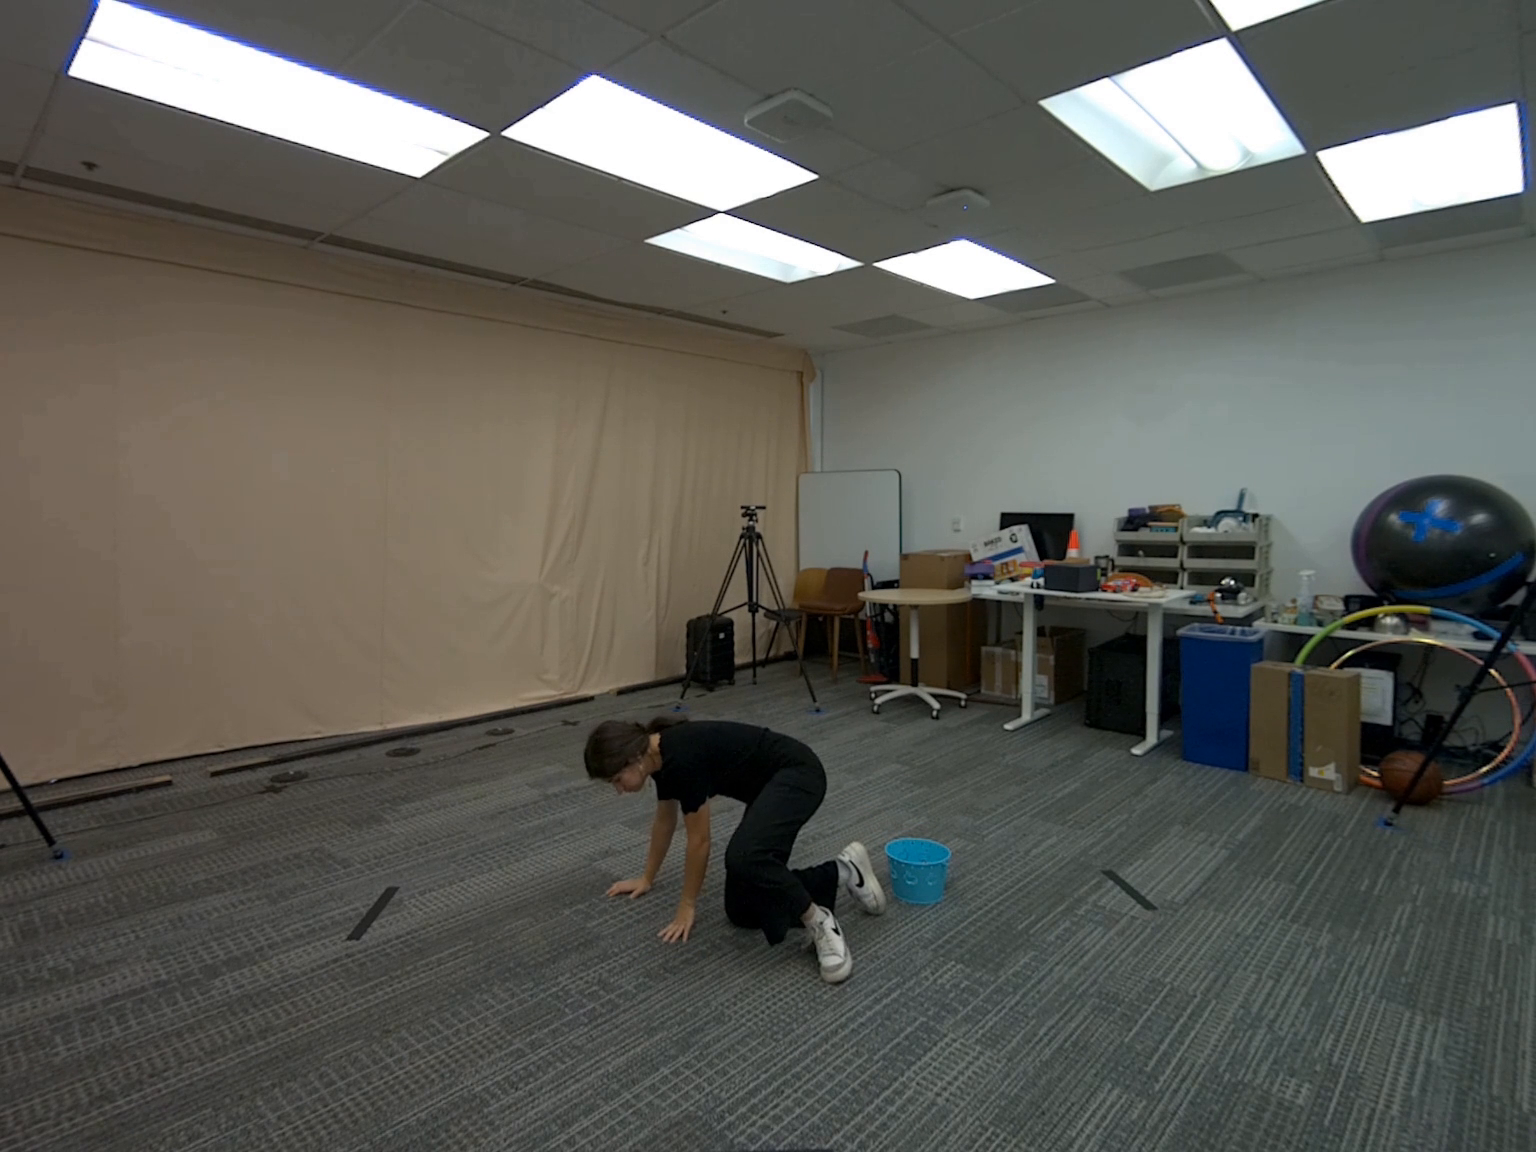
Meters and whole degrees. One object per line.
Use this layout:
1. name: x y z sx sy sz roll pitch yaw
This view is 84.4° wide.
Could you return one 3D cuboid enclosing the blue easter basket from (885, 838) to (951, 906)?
1. blue easter basket: 0.549 1.059 3.018 0.243 0.155 0.244 -1 4 -2
